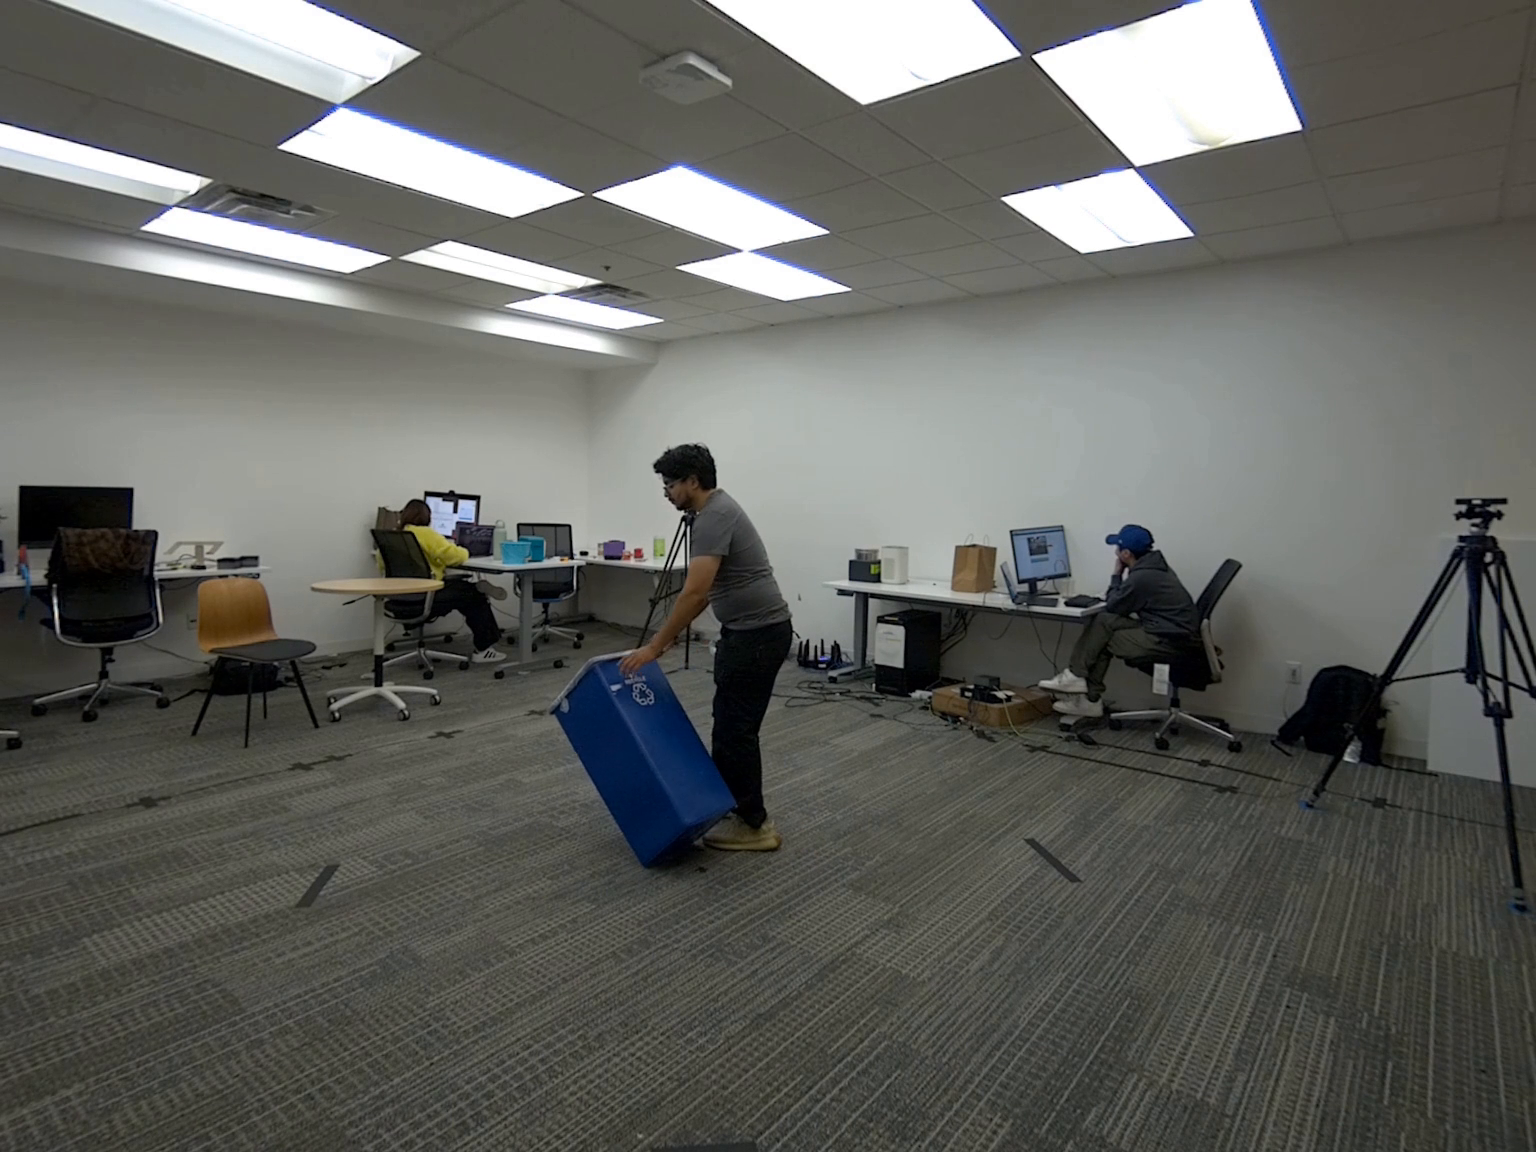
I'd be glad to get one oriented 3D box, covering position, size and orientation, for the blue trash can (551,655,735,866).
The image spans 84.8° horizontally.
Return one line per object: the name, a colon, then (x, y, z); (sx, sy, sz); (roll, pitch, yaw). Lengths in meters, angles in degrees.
blue trash can: (-0.488, 0.682, 3.303); (0.367, 0.736, 0.374); (-2, -41, -53)
